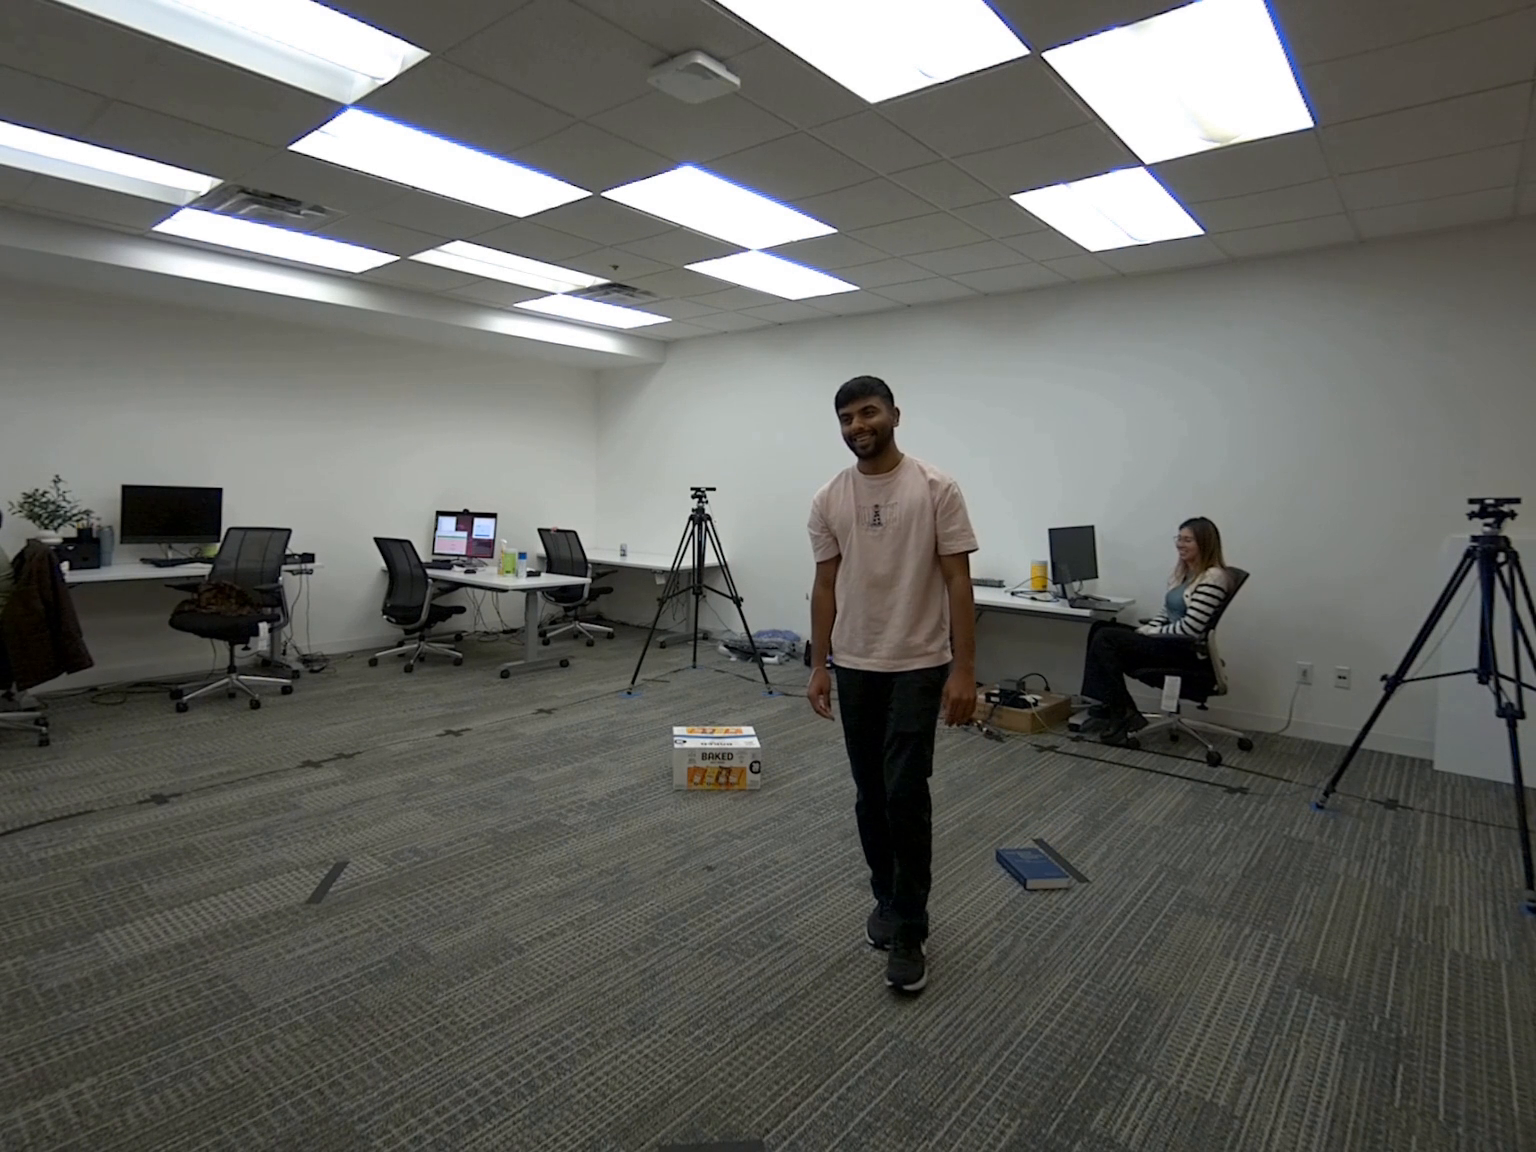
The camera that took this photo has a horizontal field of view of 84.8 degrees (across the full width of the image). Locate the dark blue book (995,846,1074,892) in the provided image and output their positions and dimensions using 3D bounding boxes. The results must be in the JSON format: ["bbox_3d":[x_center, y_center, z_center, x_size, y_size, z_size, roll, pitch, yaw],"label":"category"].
[{"bbox_3d":[0.962,1.071,3.121,0.162,0.045,0.248,1,6,-10],"label":"dark blue book"}]
